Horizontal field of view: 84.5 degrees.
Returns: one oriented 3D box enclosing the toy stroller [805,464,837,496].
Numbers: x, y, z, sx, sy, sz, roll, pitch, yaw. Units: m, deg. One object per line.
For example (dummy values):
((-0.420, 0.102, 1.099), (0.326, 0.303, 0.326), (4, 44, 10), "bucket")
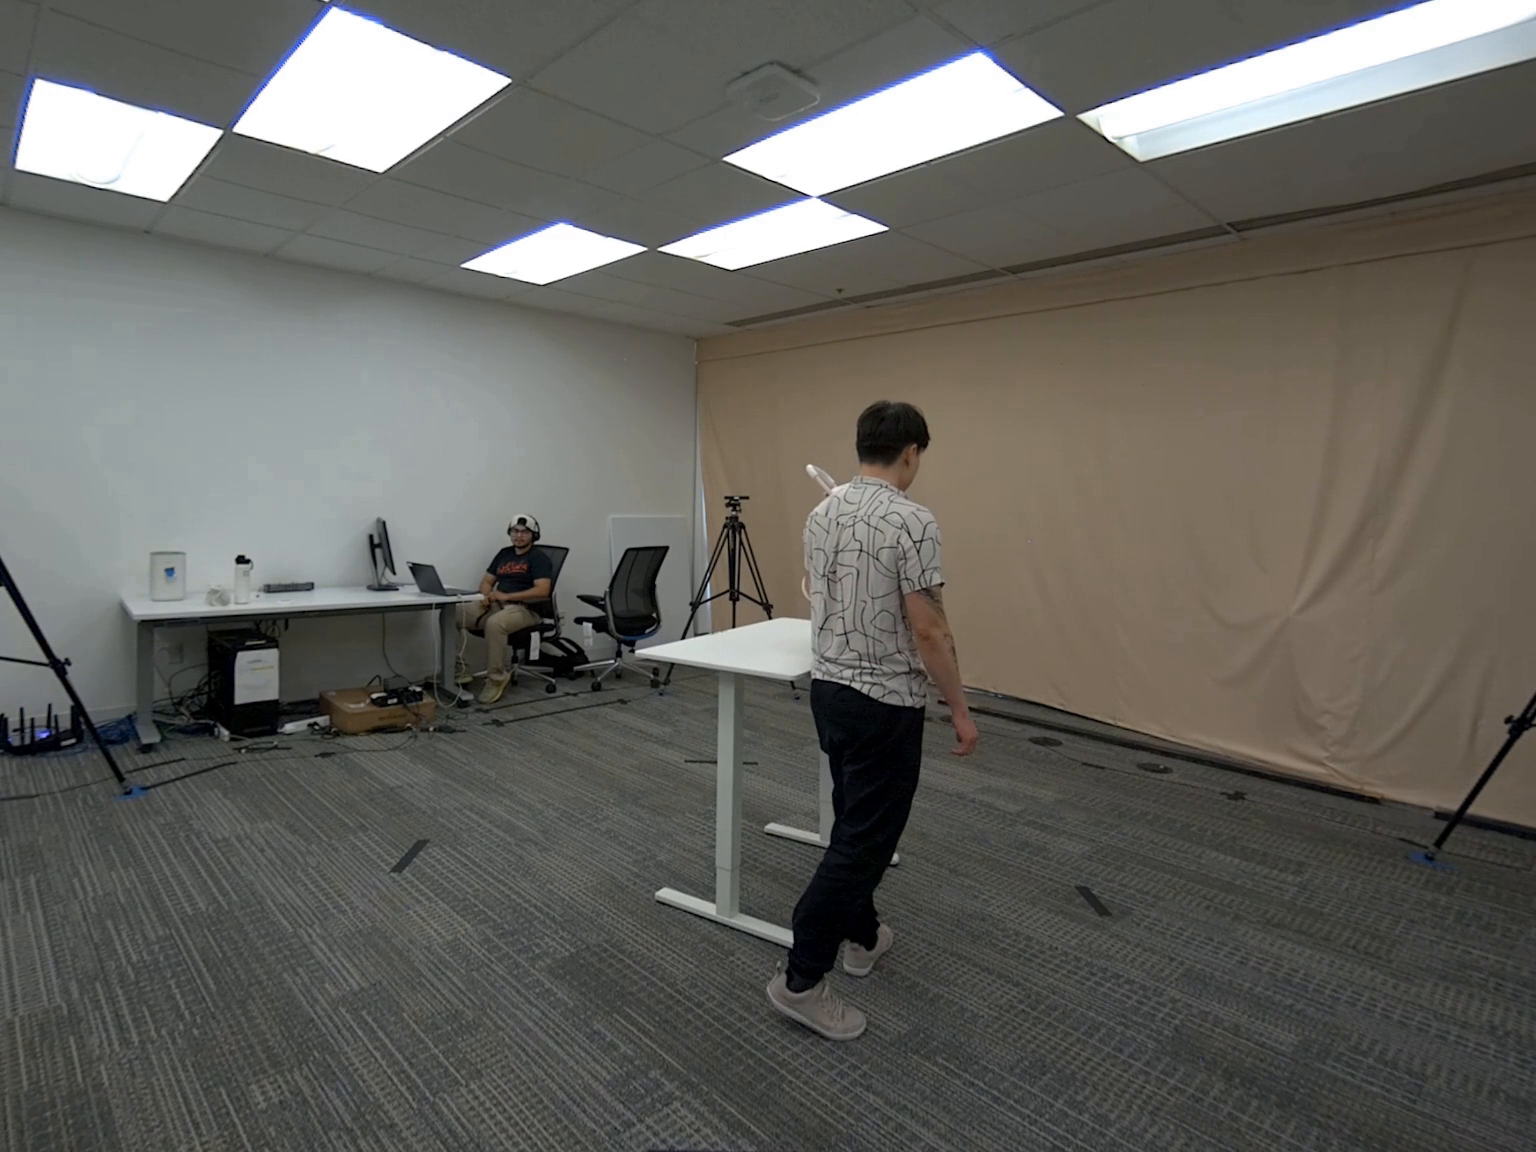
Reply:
((0.309, -0.114, 2.873), (0.348, 0.537, 0.275), (-1, -6, 29), "toy stroller")
